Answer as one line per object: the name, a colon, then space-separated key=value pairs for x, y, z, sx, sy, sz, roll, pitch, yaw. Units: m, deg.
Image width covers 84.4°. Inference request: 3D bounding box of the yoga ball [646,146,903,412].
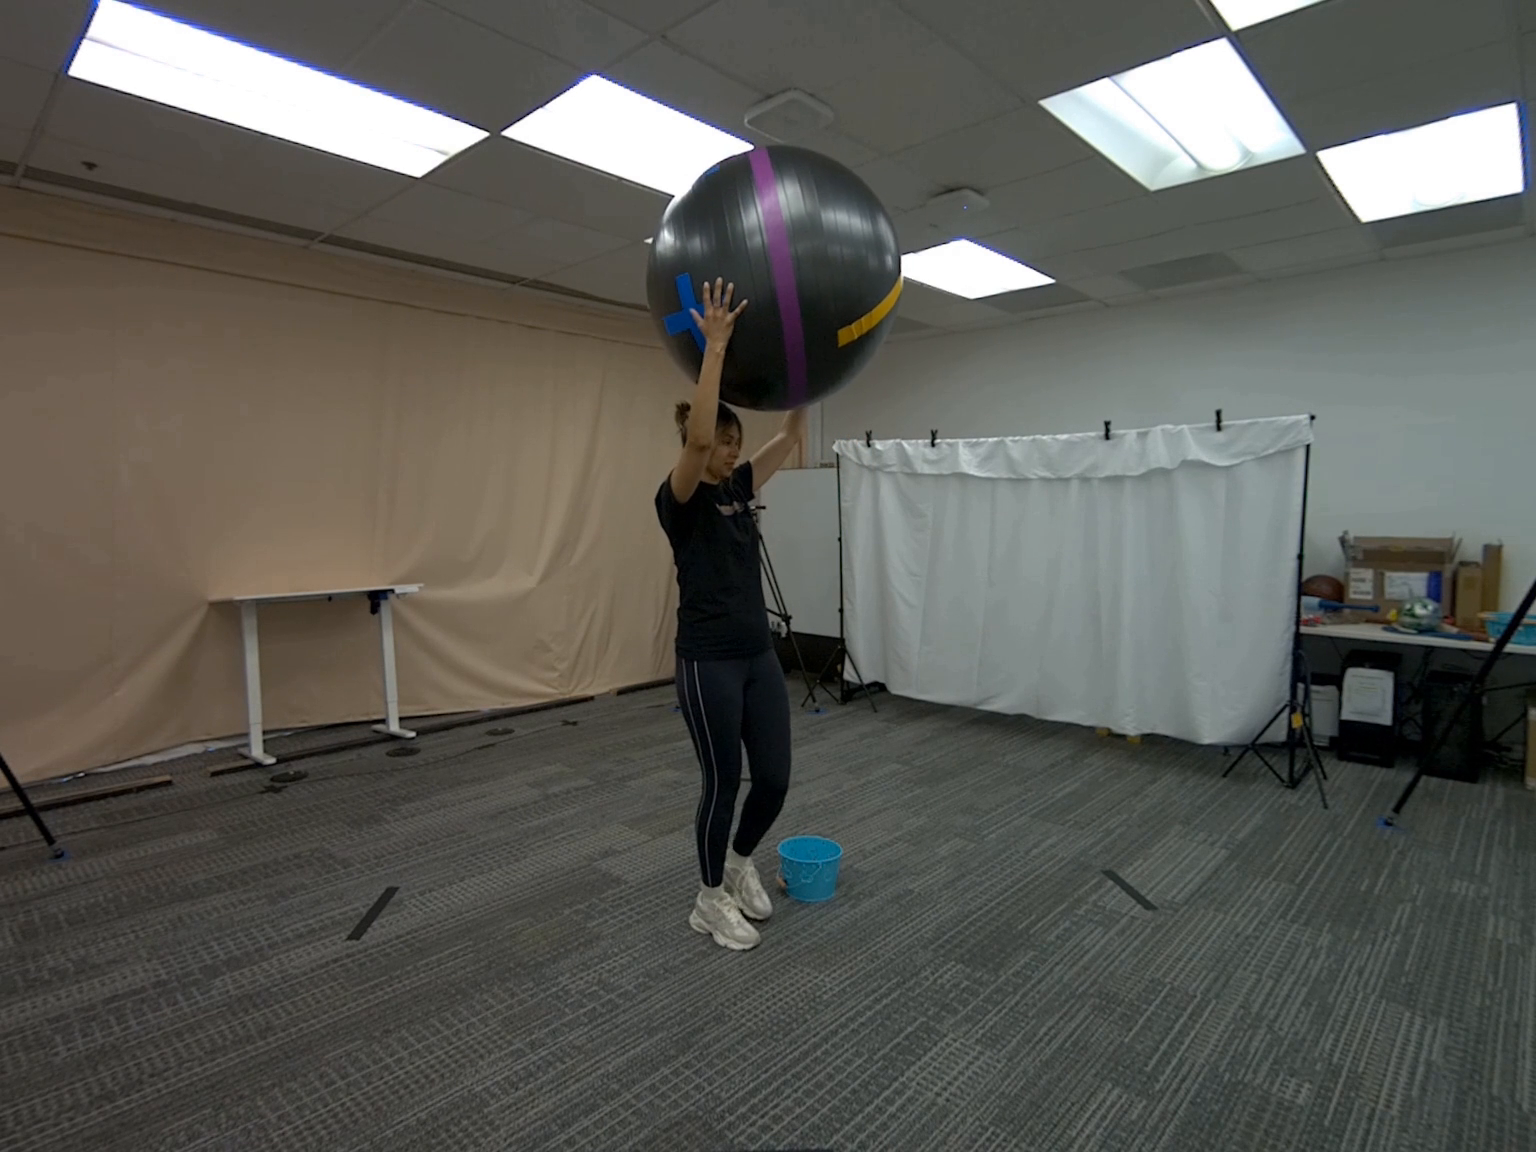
yoga ball: x=0.016 y=-0.870 z=2.525 sx=0.757 sy=0.756 sz=0.760 roll=0 pitch=4 yaw=-2
